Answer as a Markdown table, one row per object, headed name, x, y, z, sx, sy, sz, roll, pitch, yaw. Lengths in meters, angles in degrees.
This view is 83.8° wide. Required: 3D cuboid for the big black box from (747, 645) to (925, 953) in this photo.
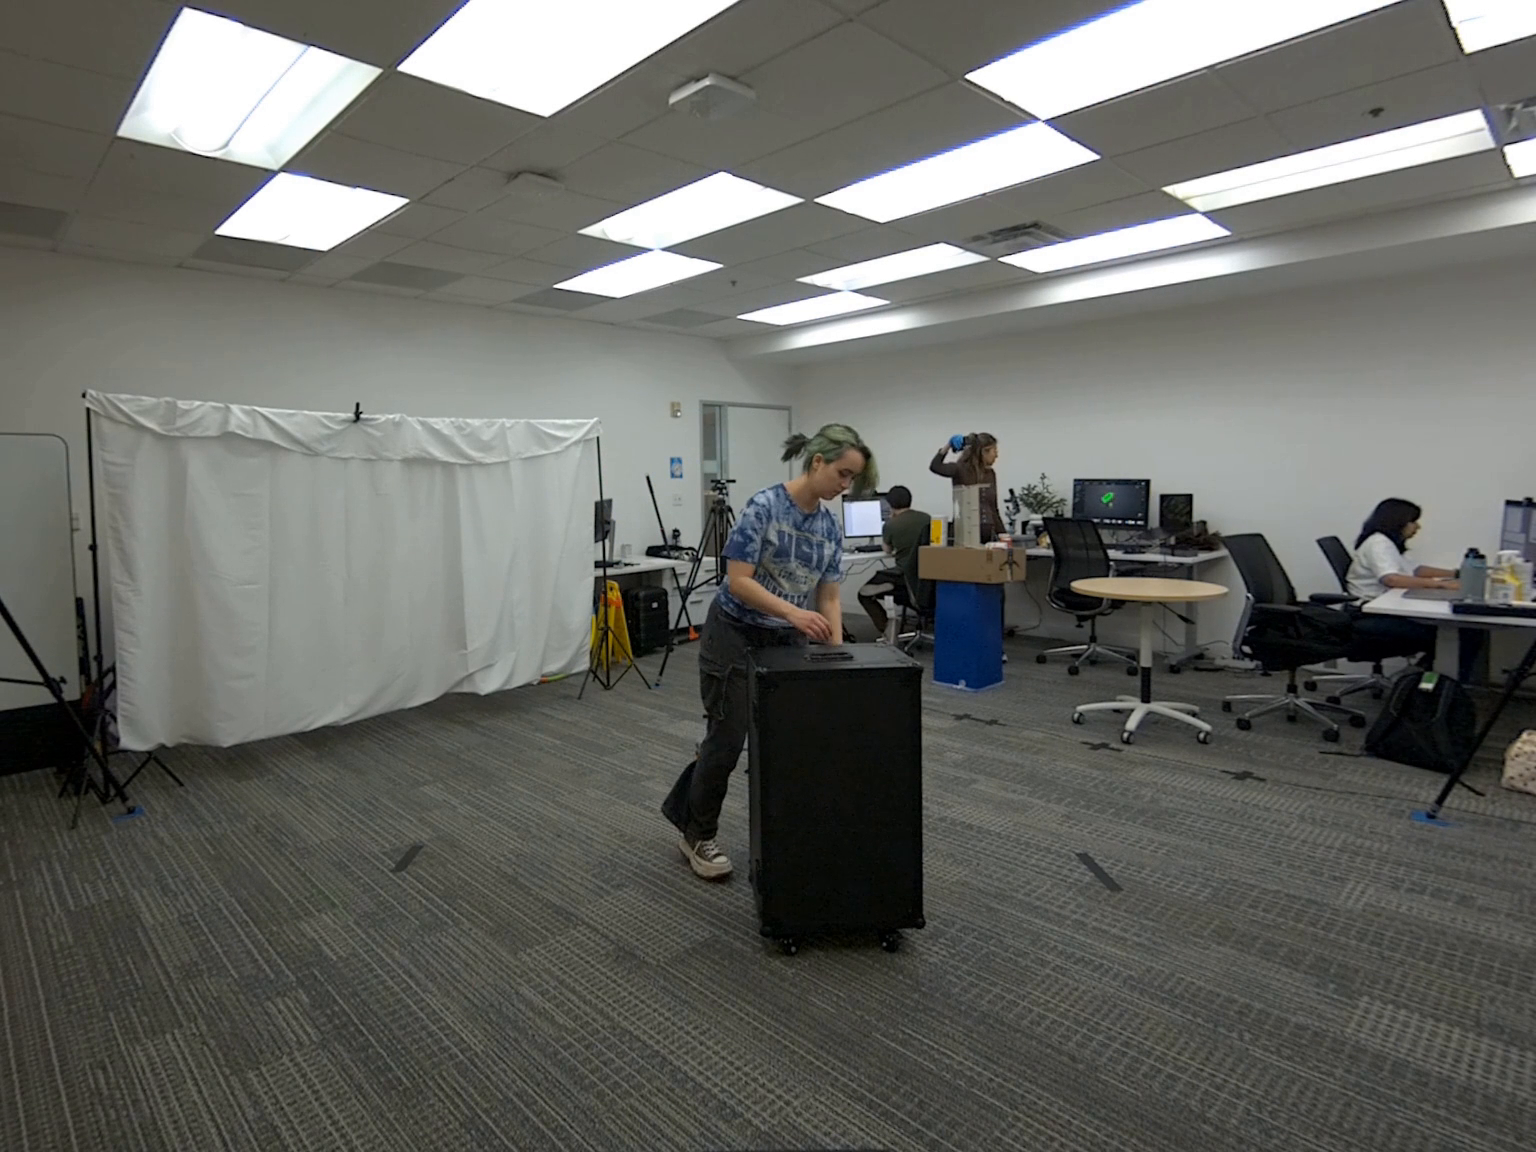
| name | x | y | z | sx | sy | sz | roll | pitch | yaw |
| --- | --- | --- | --- | --- | --- | --- | --- | --- | --- |
| big black box | 0.196 | 0.675 | 2.650 | 0.519 | 0.859 | 0.399 | -2 | 3 | -4 |
